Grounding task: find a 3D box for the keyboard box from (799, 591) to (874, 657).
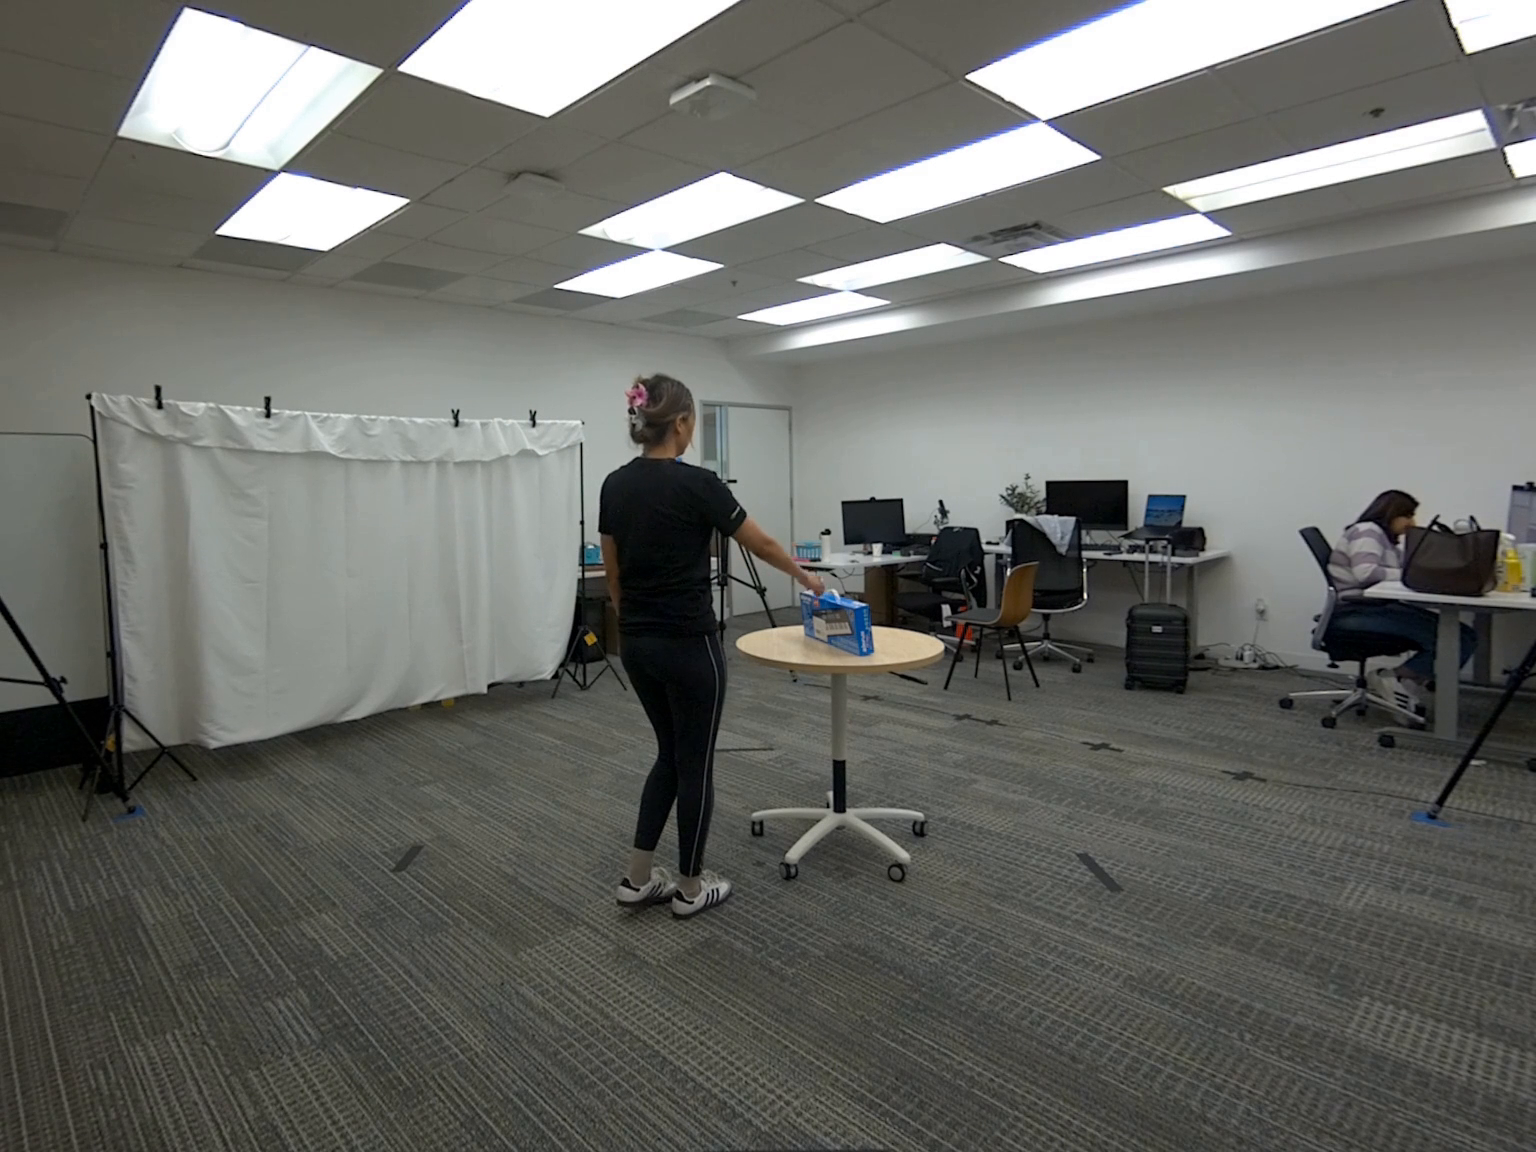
[{"bbox_3d":[0.247,0.167,3.147,0.058,0.174,0.447,-10,9,-21],"label":"keyboard box"}]
